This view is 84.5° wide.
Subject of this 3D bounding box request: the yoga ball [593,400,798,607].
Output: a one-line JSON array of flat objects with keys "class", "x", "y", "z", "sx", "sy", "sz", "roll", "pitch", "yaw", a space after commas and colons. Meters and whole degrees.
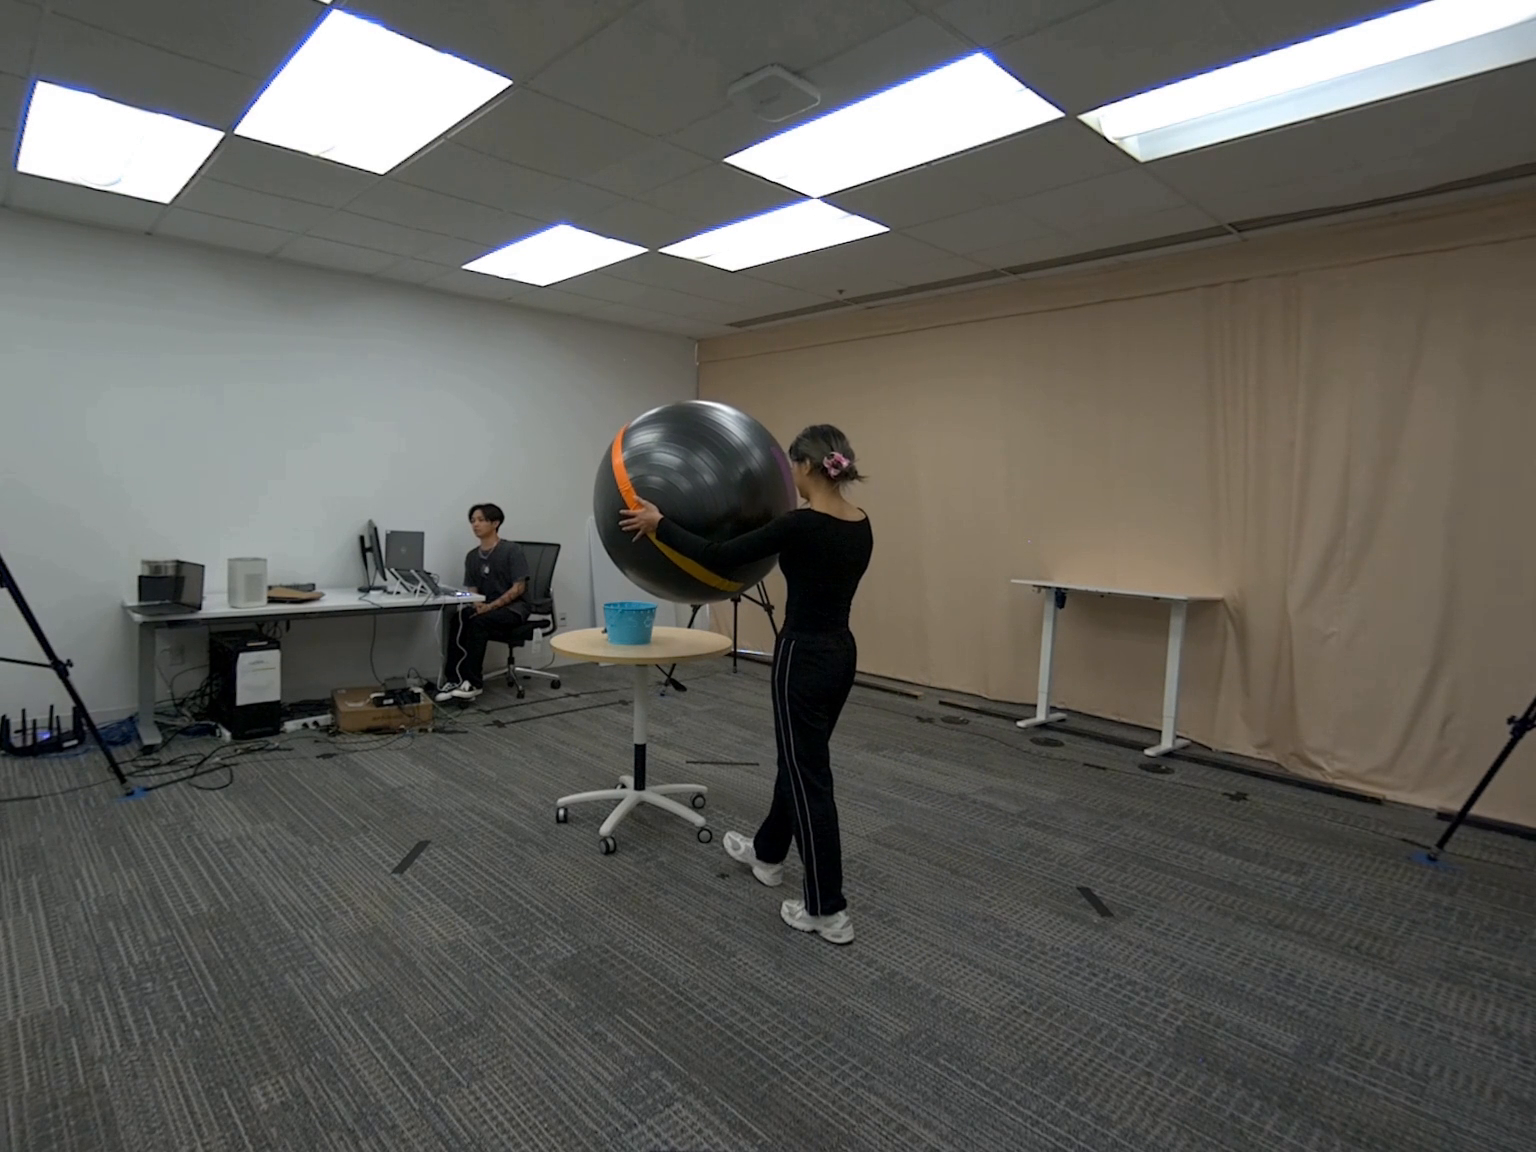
[{"class": "yoga ball", "x": -0.280, "y": -0.268, "z": 3.152, "sx": 0.757, "sy": 0.756, "sz": 0.761, "roll": 1, "pitch": 4, "yaw": -1}]
